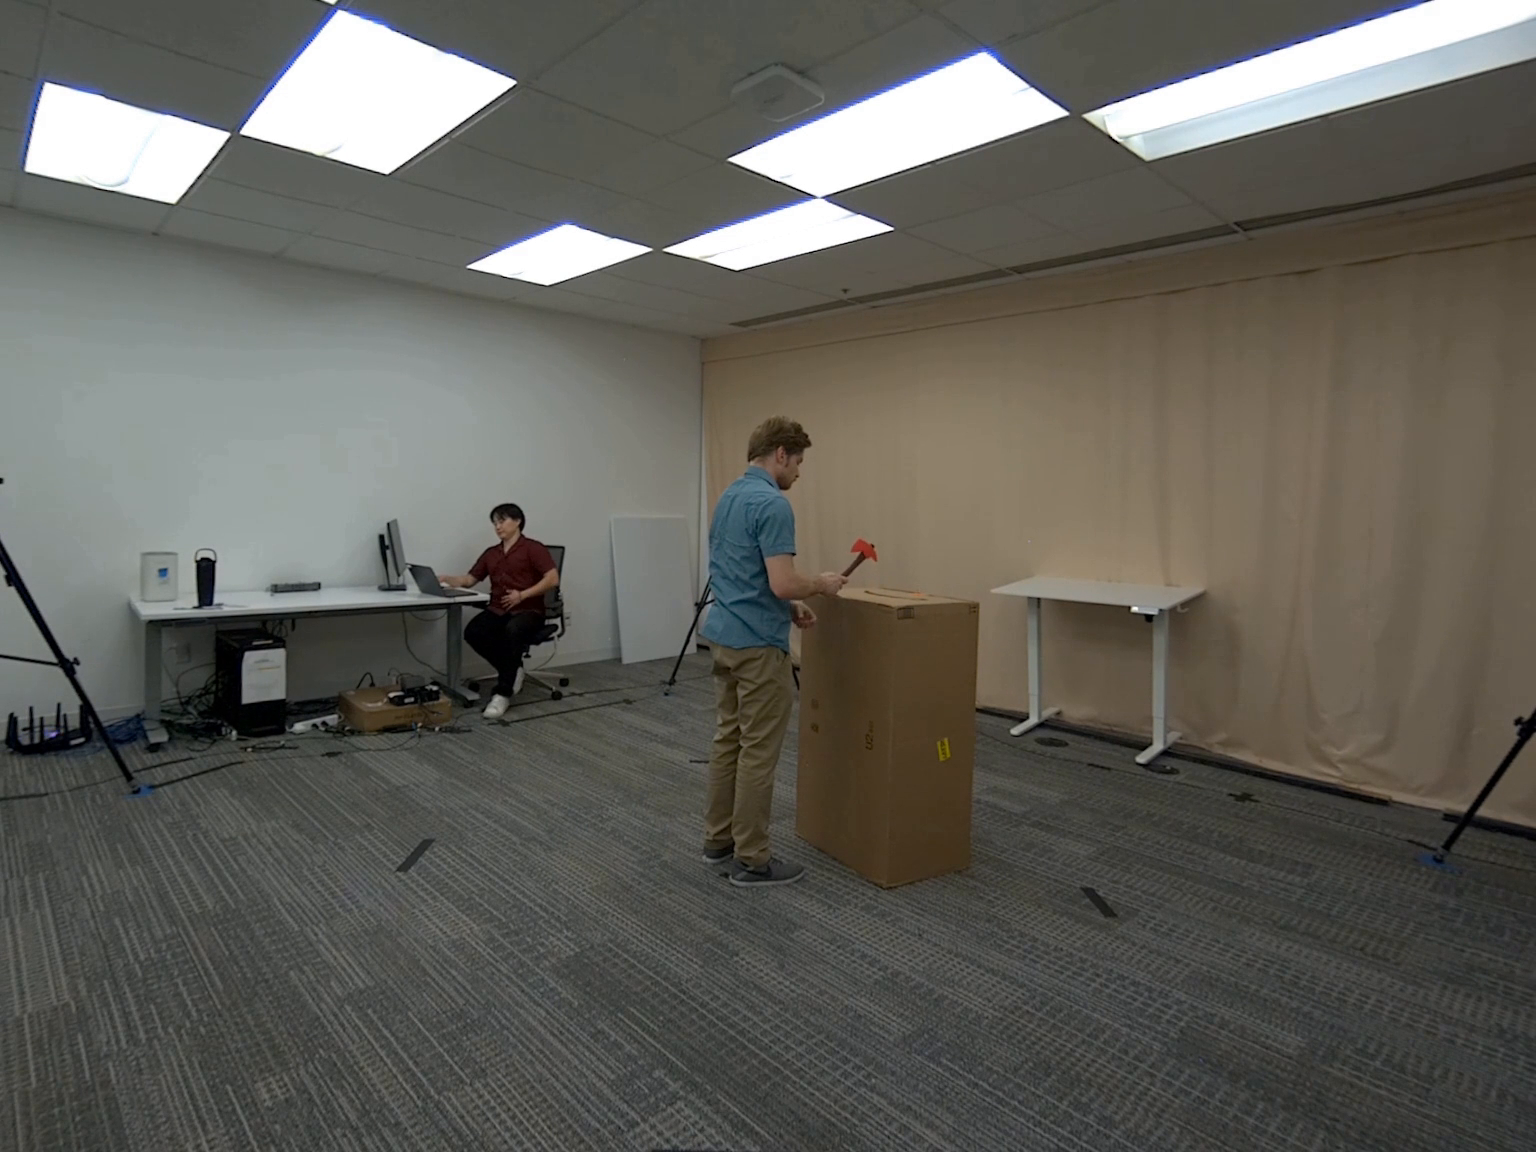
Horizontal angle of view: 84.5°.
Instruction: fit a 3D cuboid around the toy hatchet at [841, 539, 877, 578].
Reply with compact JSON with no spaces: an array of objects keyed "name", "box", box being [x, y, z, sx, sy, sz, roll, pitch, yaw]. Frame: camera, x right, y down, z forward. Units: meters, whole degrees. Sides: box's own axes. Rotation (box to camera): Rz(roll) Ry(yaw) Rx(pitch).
[{"name":"toy hatchet","box":[0.274,-0.064,3.162,0.269,0.128,0.030,-29,25,-15]}]
